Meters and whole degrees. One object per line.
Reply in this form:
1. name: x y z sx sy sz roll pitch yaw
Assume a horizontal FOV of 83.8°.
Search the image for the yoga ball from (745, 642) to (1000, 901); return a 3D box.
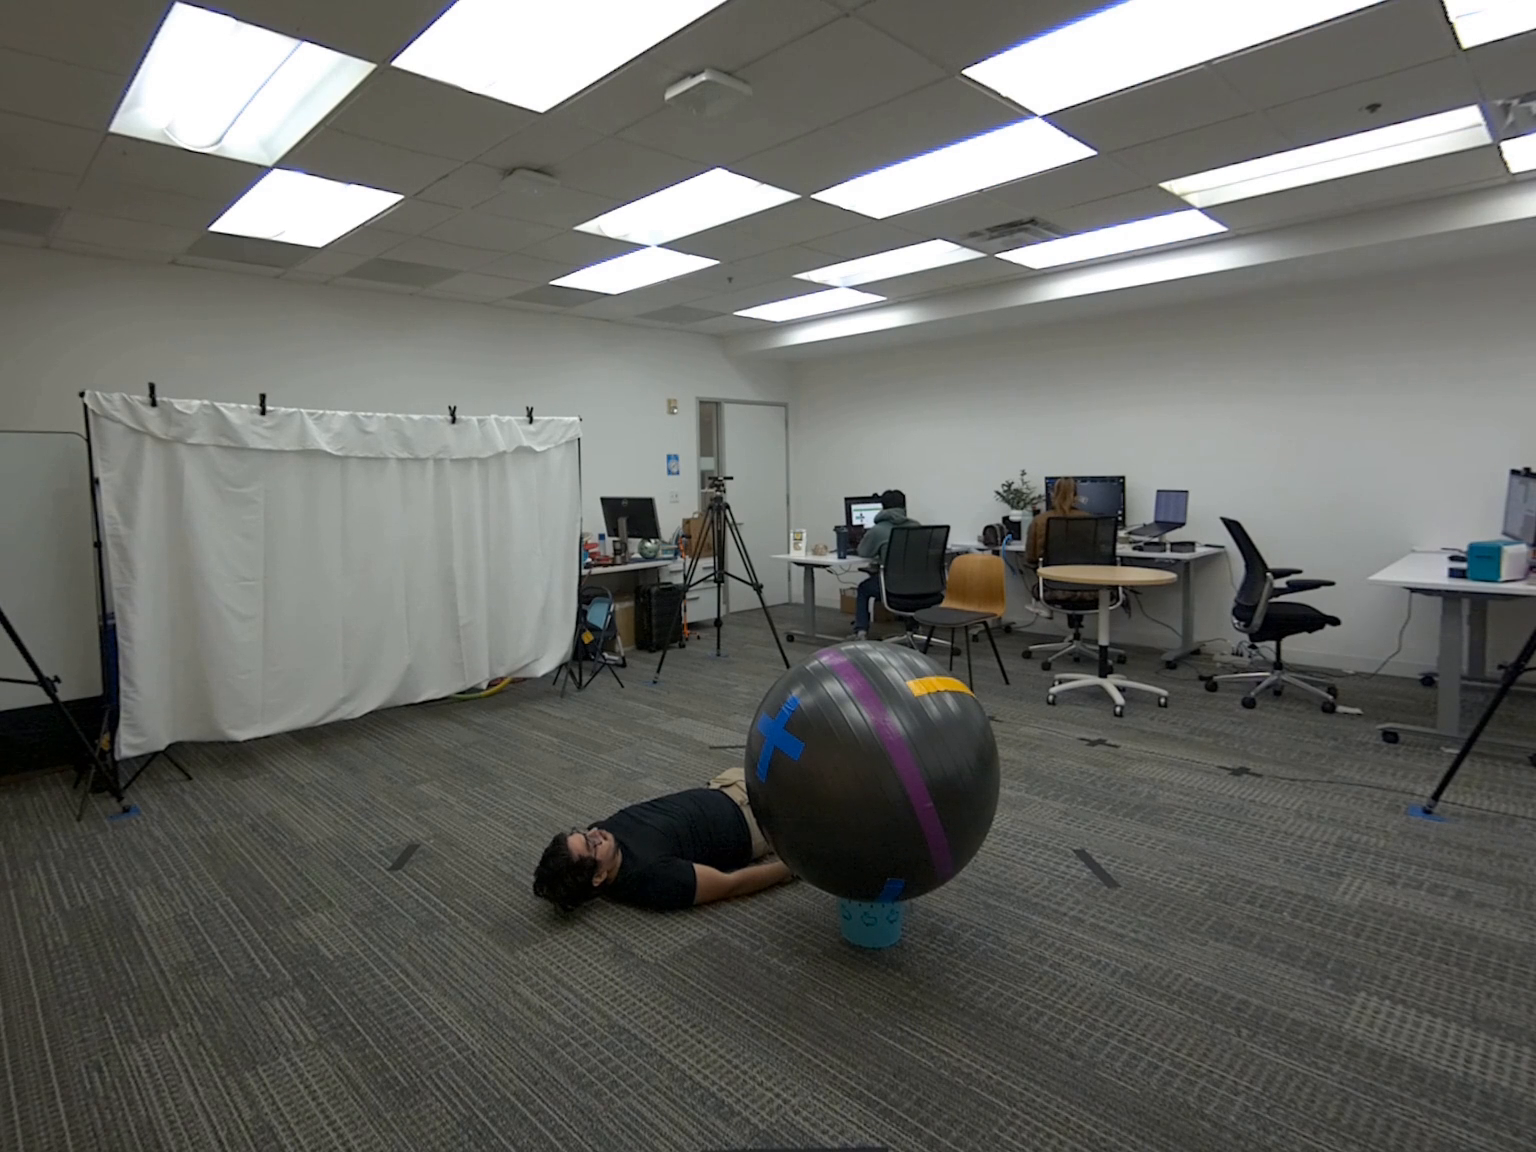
1. yoga ball: 0.308 0.579 2.584 0.757 0.755 0.761 -1 4 -2
